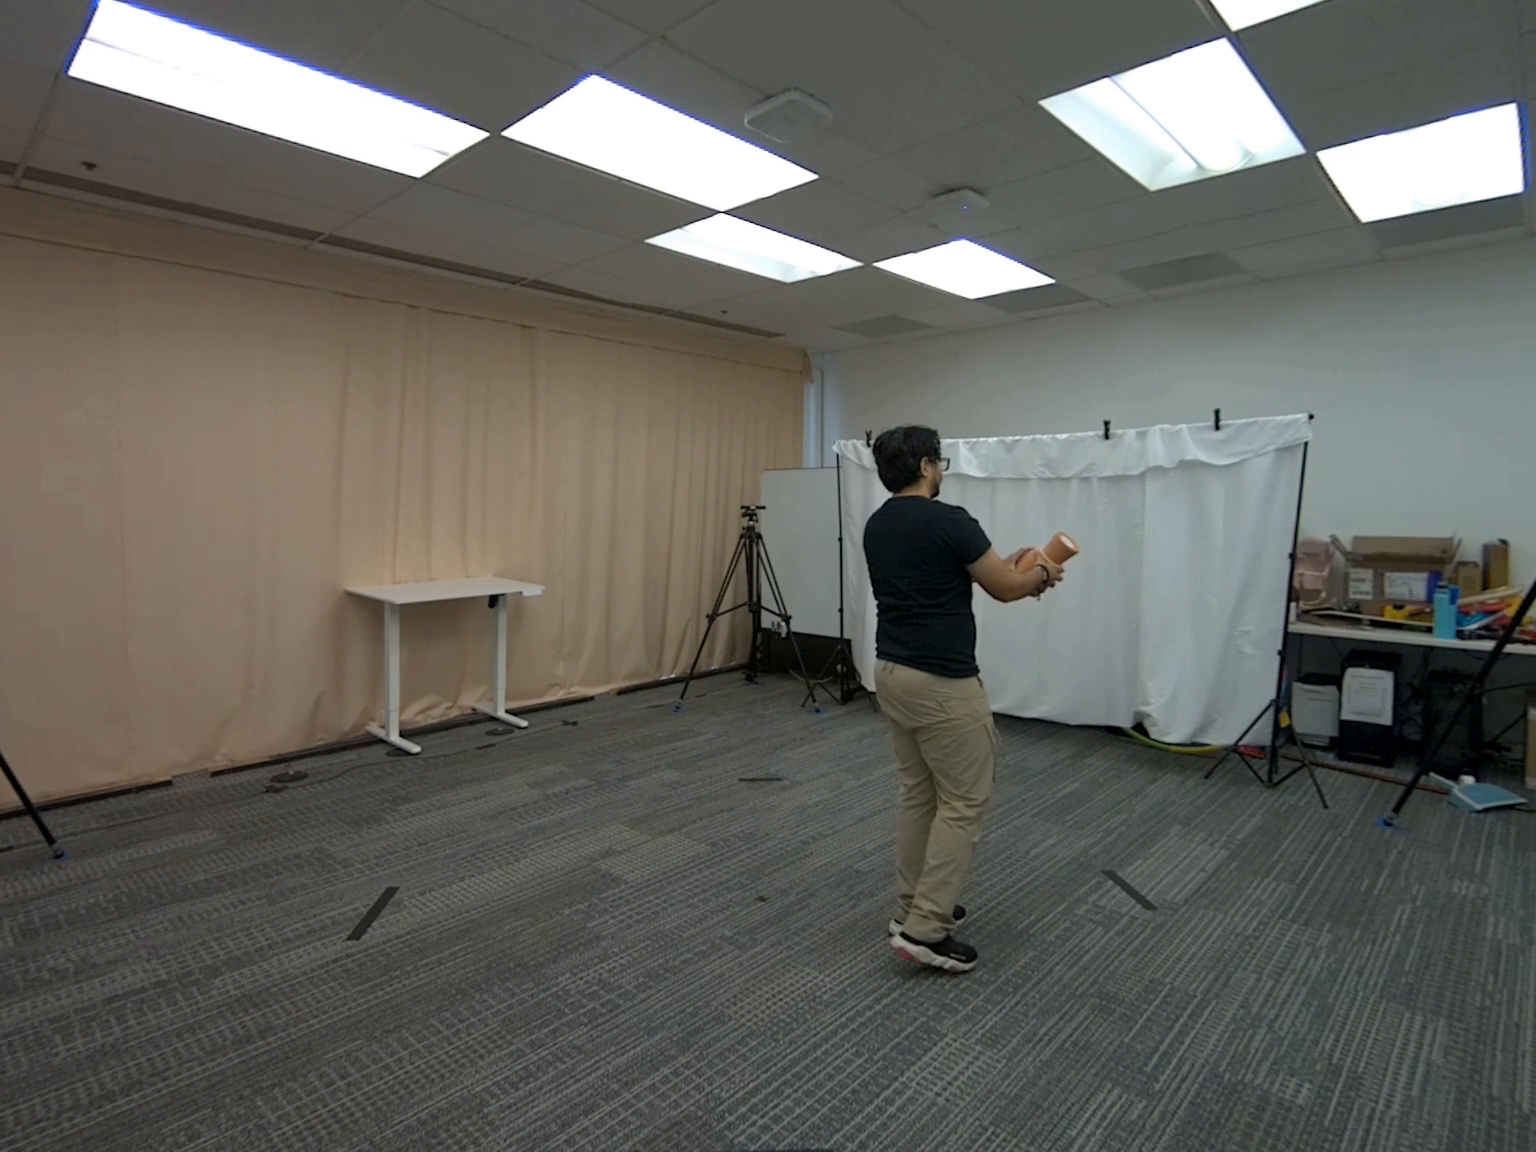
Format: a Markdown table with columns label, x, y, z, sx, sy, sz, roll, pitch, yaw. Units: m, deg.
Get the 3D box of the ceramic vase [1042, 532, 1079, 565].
| label | x | y | z | sx | sy | sz | roll | pitch | yaw |
| --- | --- | --- | --- | --- | --- | --- | --- | --- | --- |
| ceramic vase | 0.964 | -0.046 | 2.904 | 0.131 | 0.220 | 0.163 | 18 | 37 | -27 |
